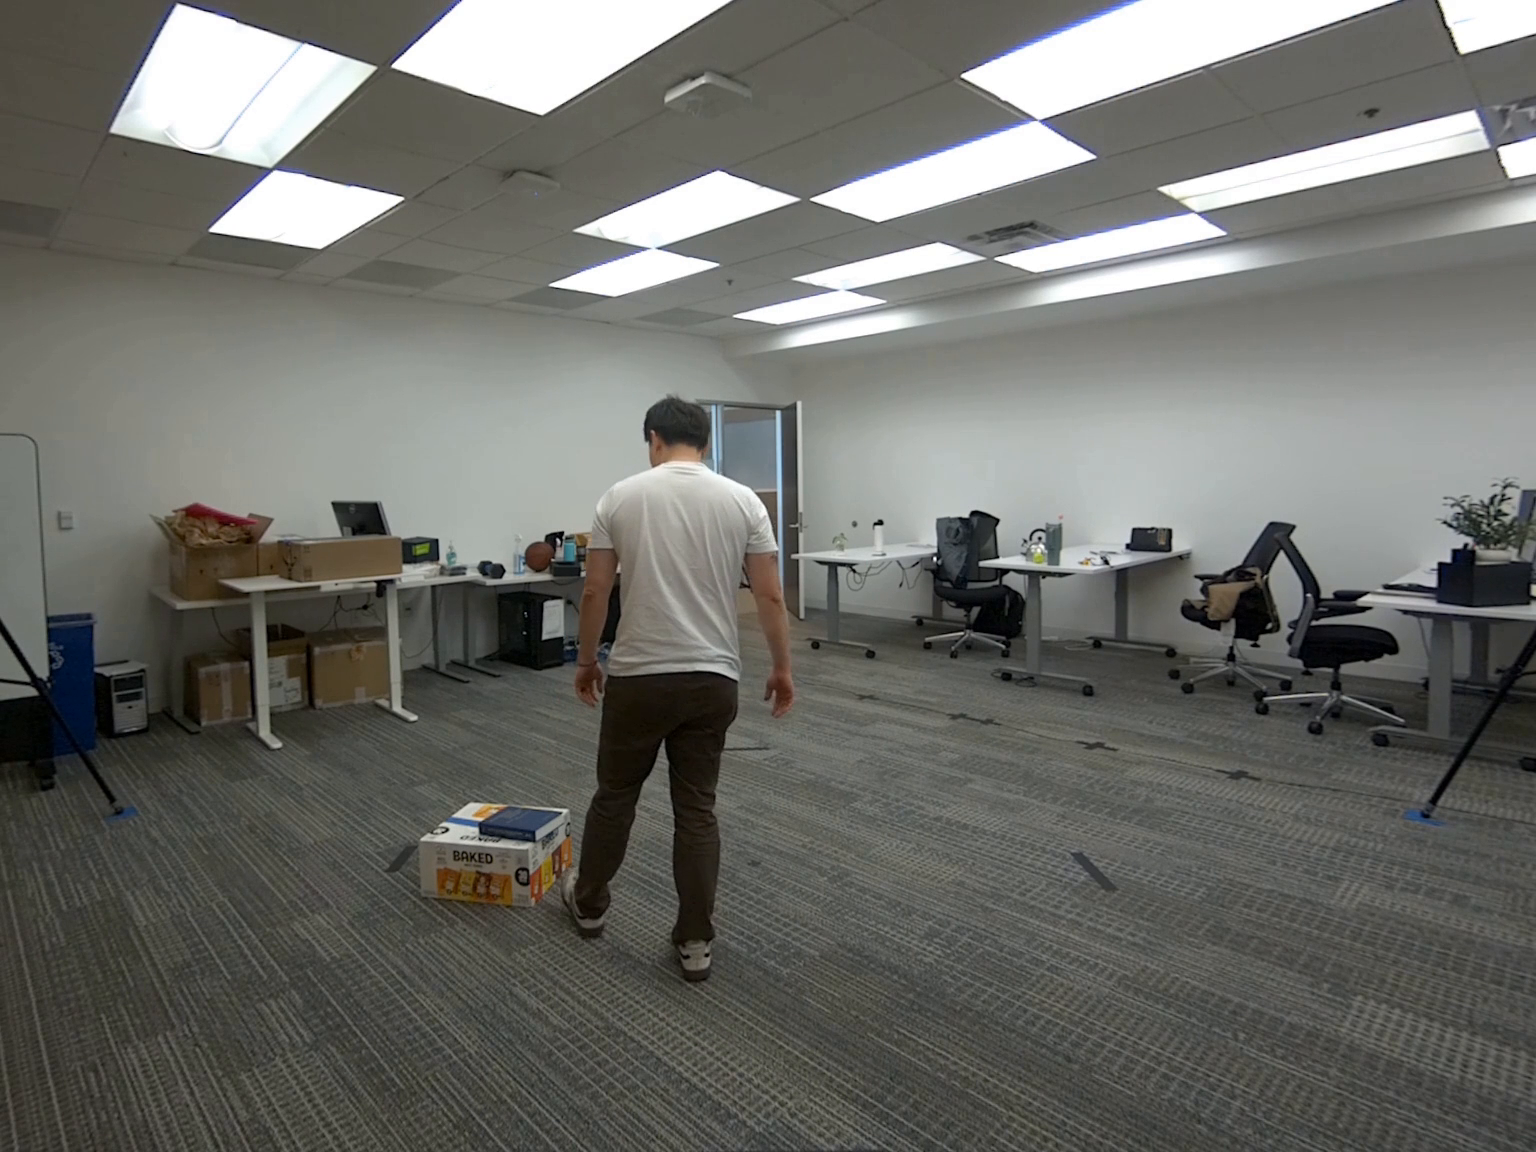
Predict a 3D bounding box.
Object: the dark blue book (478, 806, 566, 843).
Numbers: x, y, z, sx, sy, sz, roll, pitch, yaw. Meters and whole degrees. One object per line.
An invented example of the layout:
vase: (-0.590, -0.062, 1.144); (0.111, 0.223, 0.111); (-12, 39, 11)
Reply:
dark blue book: (-0.859, 0.860, 2.966); (0.250, 0.045, 0.161); (-1, 6, 24)
